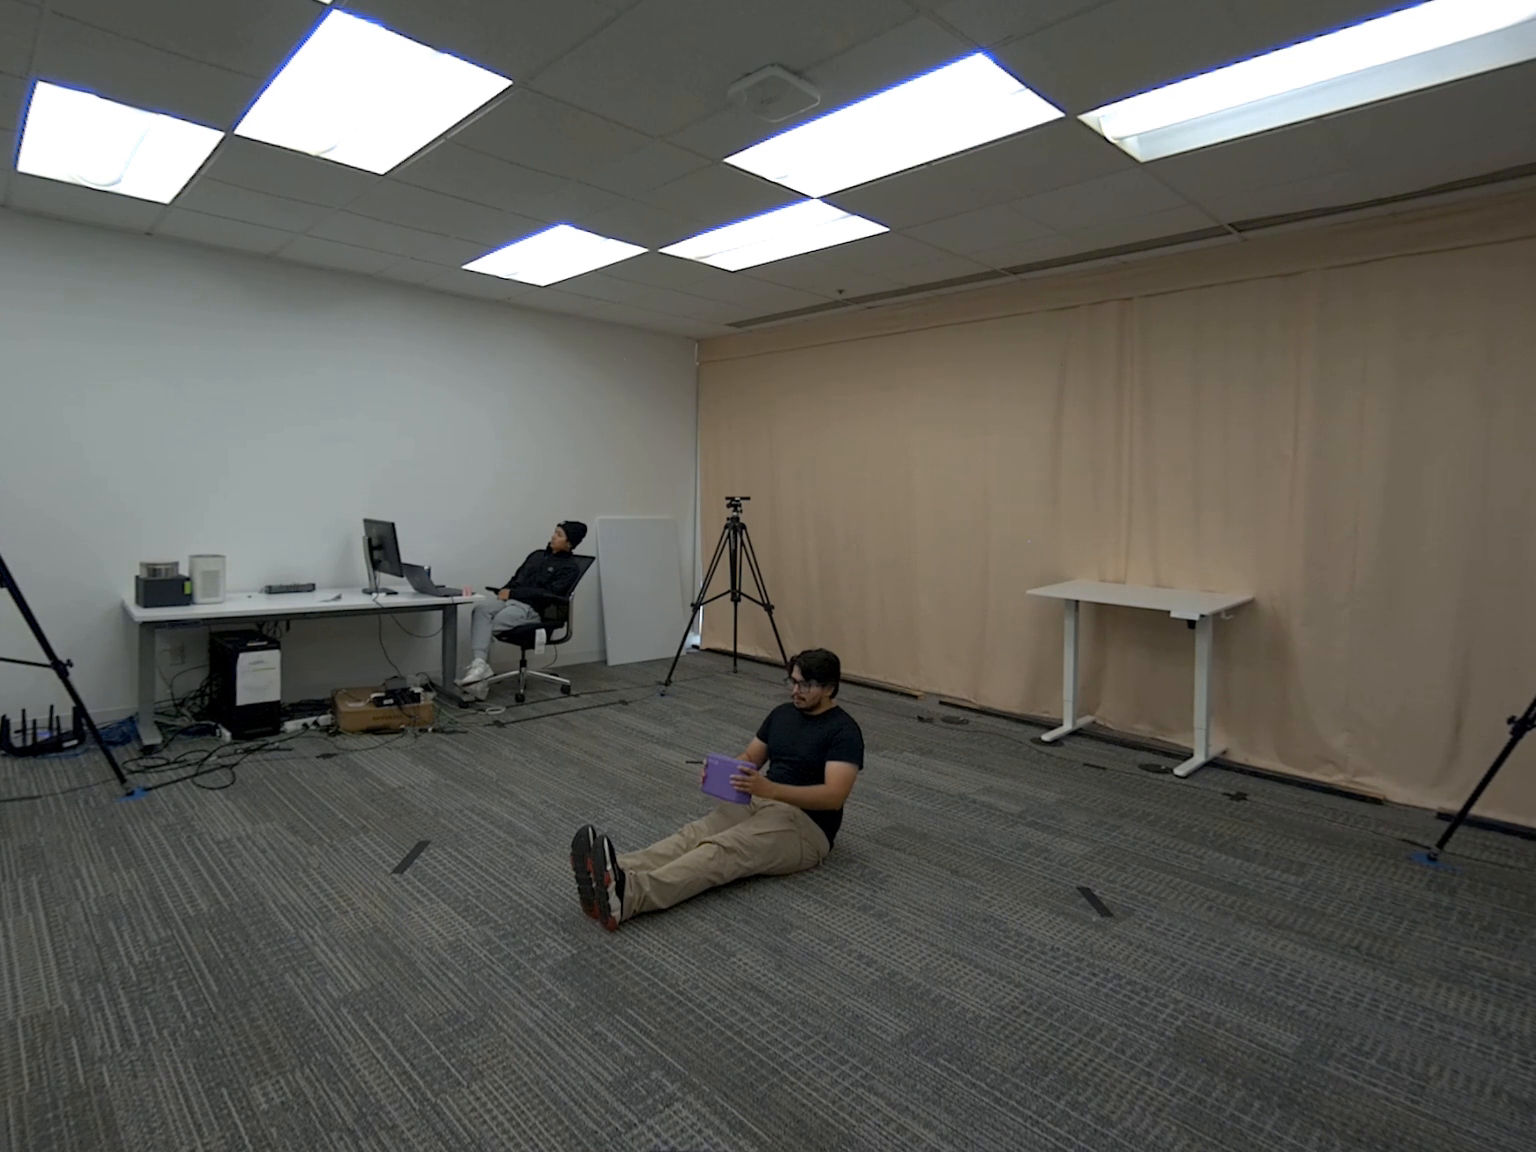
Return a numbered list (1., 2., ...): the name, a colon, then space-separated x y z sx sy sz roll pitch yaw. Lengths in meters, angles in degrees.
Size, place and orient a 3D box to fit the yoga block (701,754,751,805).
1. yoga block: -0.152 0.766 3.168 0.074 0.150 0.234 13 -8 -36
